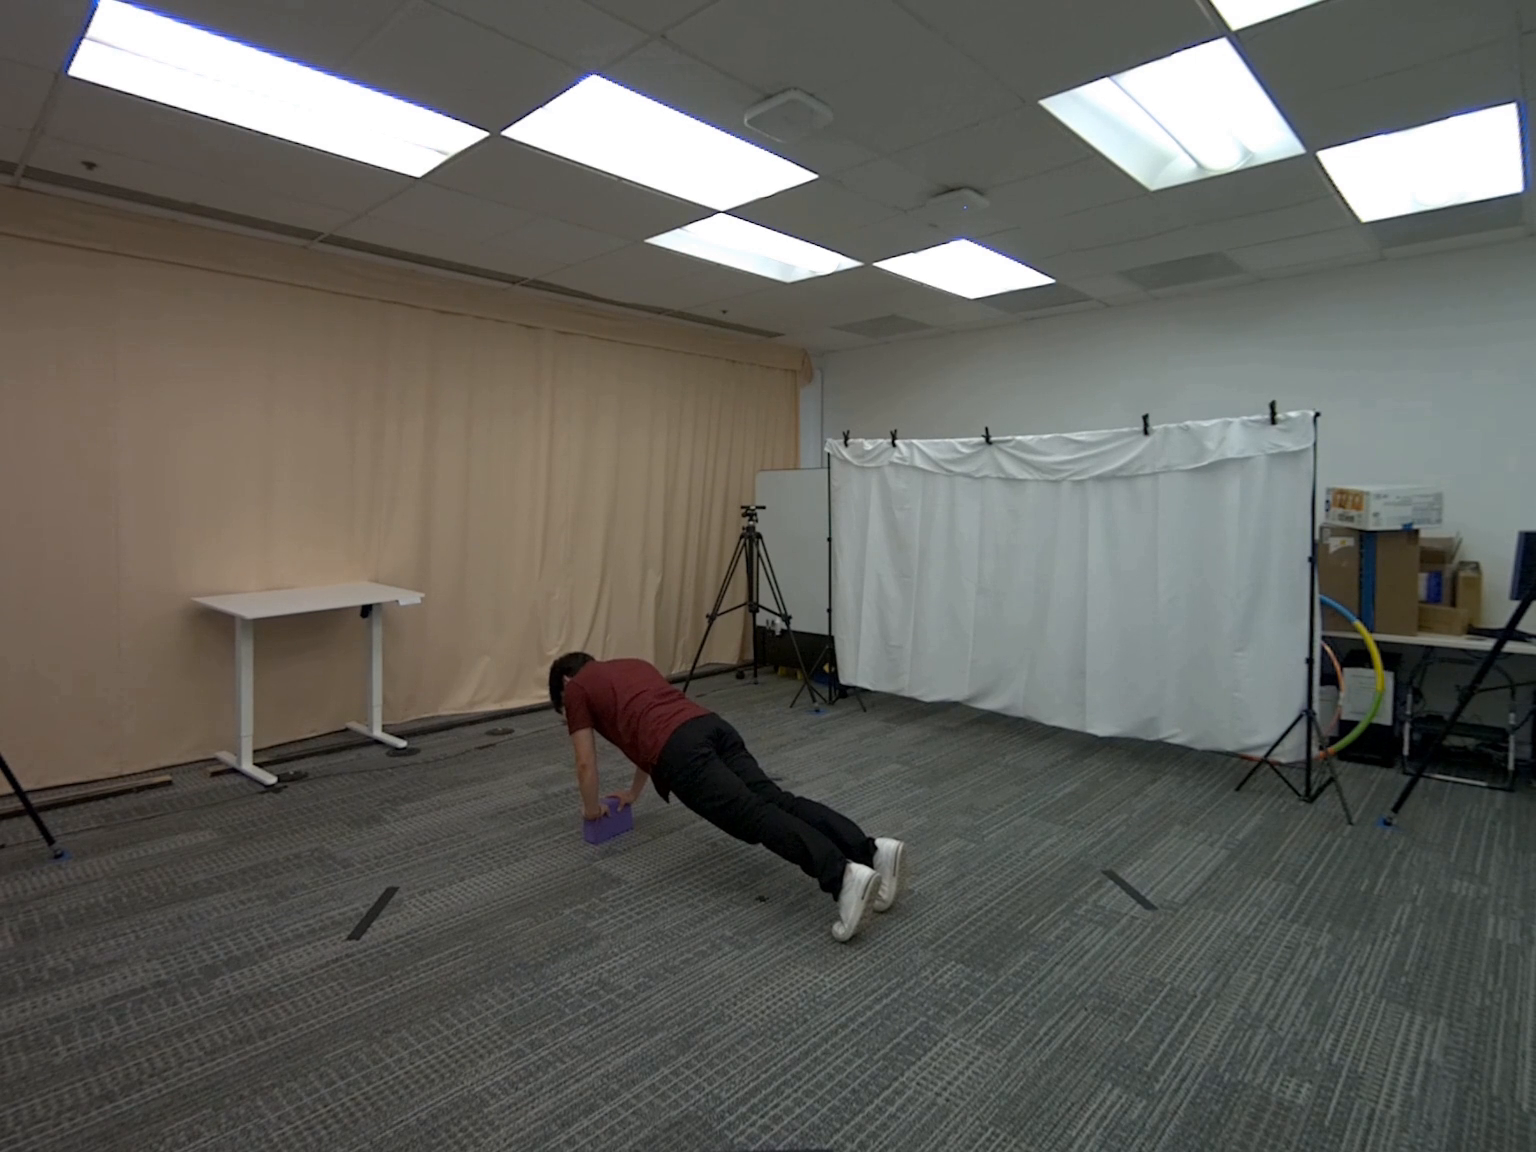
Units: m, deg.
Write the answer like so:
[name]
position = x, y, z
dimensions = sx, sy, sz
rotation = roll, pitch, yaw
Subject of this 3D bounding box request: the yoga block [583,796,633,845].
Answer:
[yoga block]
position = -0.683, 1.030, 3.578
dimensions = 0.079, 0.149, 0.223
rotation = -4, 1, 35
